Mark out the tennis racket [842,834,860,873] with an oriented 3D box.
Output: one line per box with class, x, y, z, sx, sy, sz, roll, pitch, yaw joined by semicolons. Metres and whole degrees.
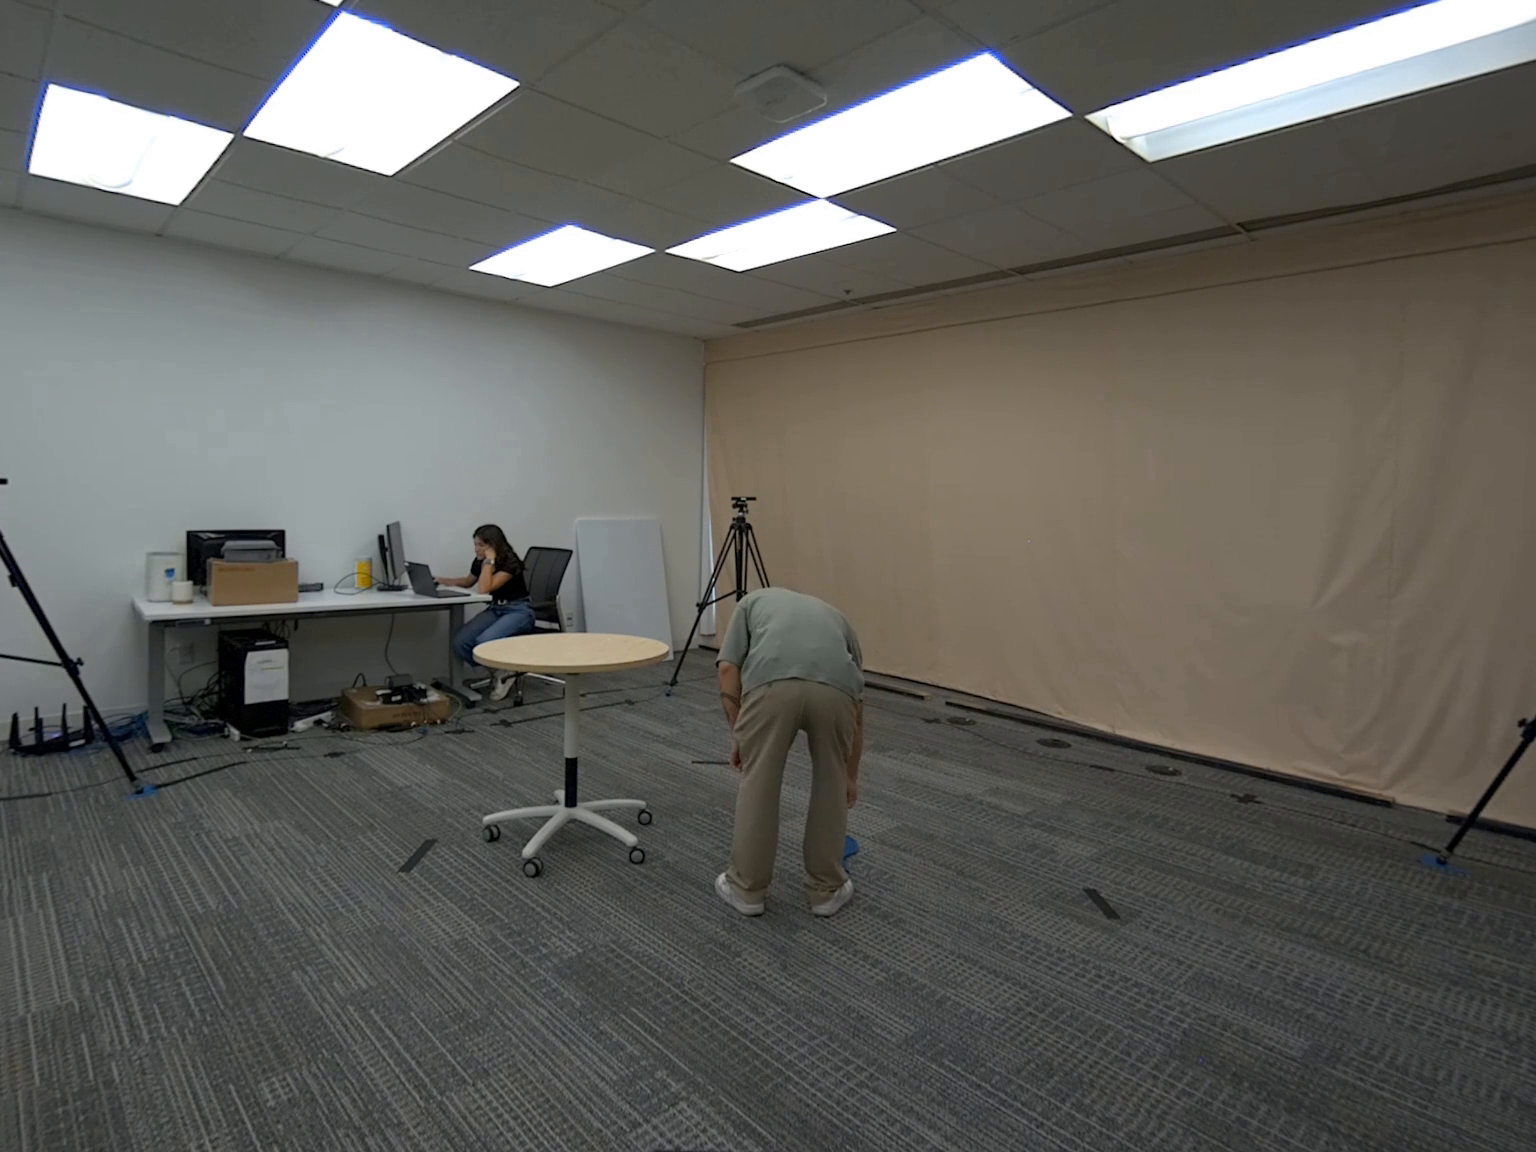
tennis racket;0.262;1.091;3.319;0.213;0.032;0.436;1;4;-7
